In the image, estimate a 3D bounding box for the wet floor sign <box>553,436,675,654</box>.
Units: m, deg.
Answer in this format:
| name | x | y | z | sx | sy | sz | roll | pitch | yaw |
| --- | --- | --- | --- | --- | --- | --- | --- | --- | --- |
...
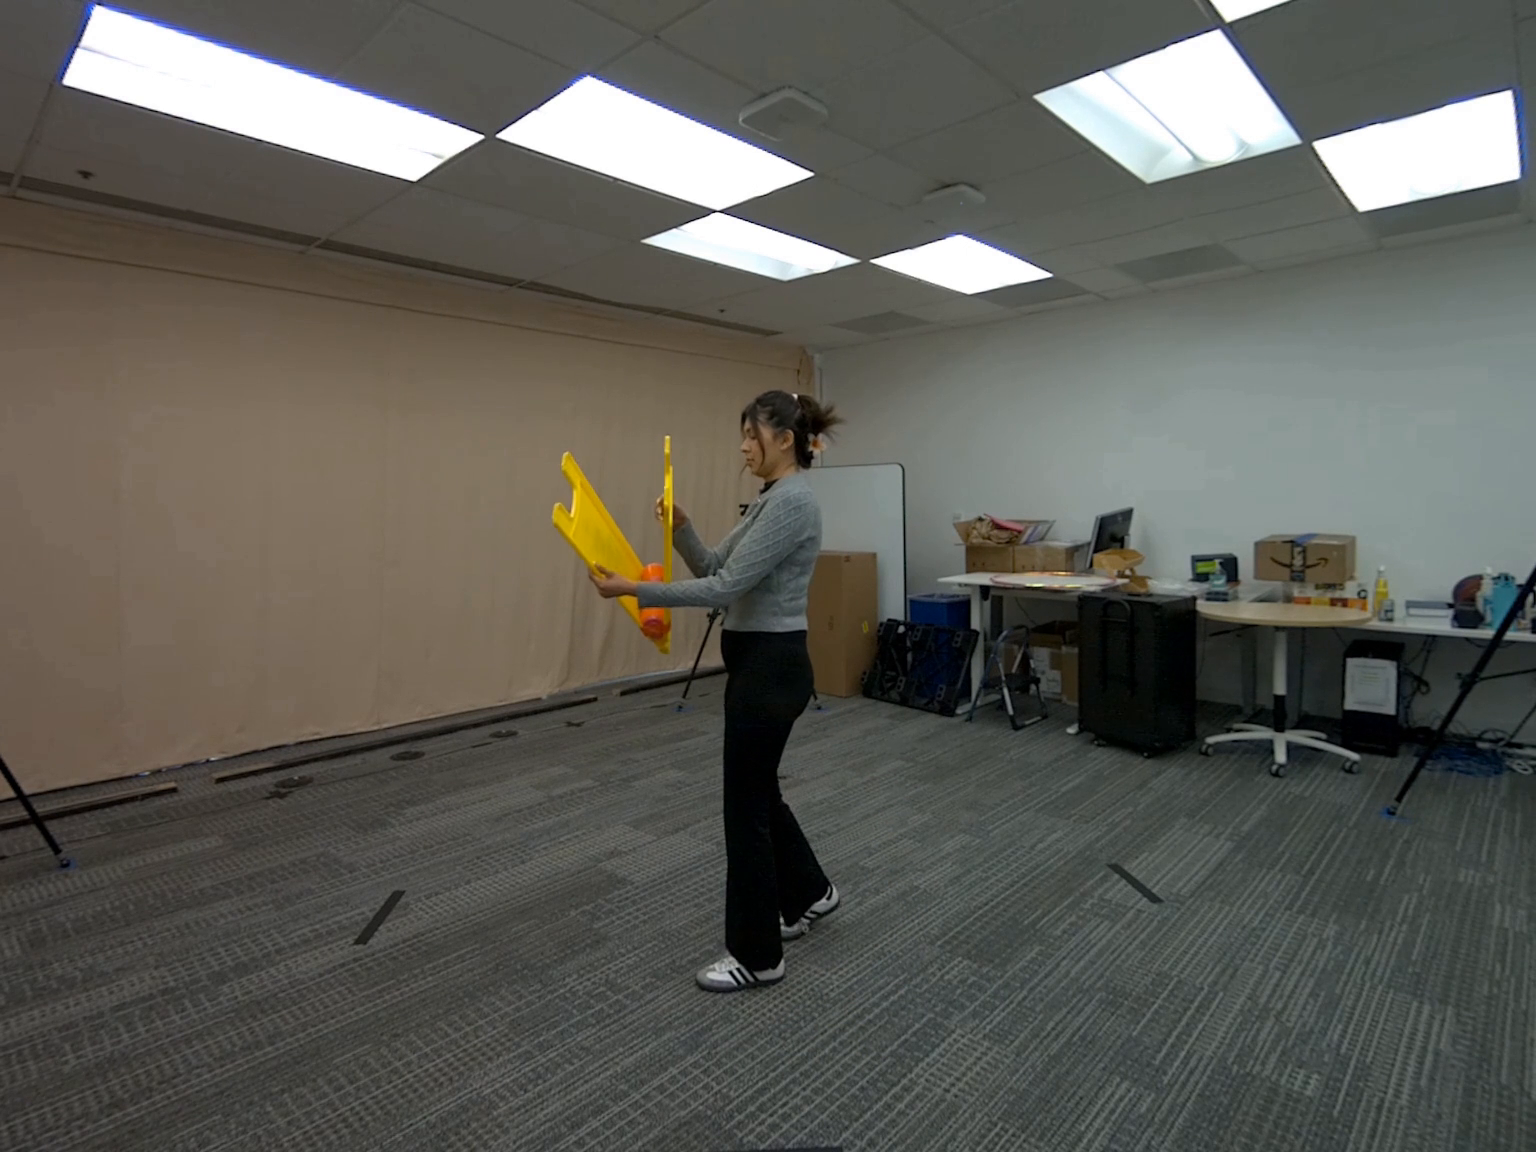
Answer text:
| name | x | y | z | sx | sy | sz | roll | pitch | yaw |
| --- | --- | --- | --- | --- | --- | --- | --- | --- | --- |
| wet floor sign | -0.356 | -0.039 | 2.400 | 0.291 | 0.630 | 0.288 | -7 | 44 | 4 |
